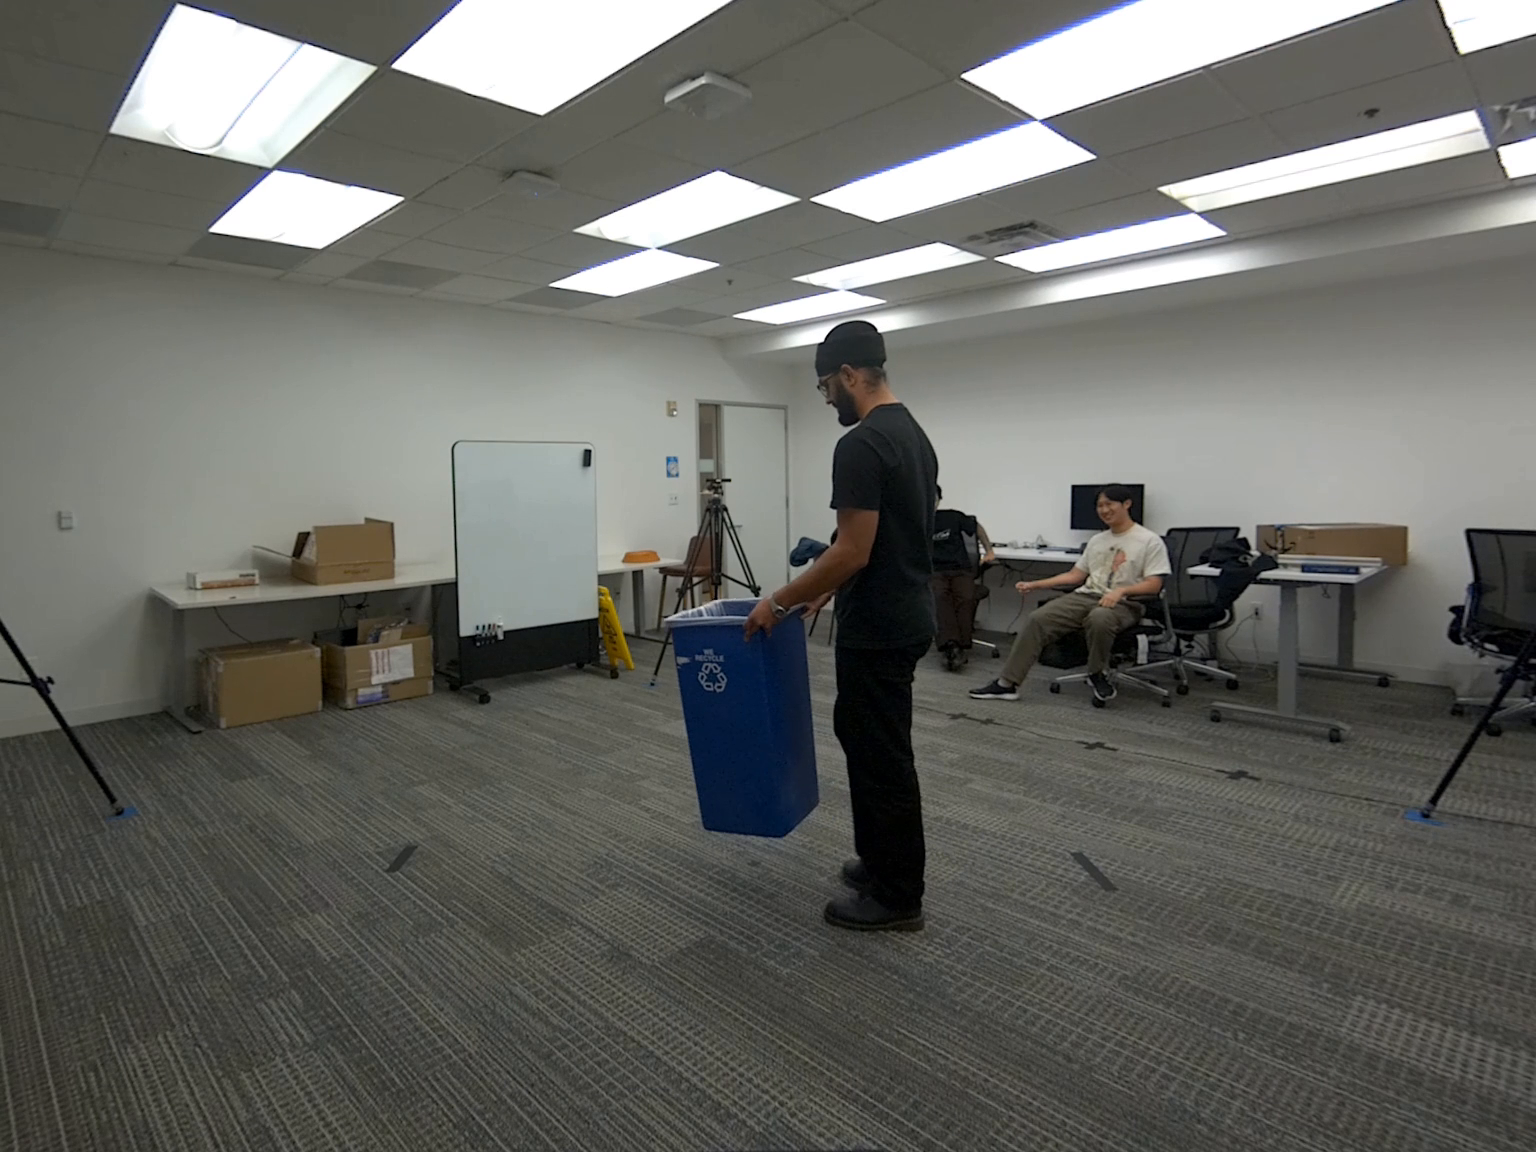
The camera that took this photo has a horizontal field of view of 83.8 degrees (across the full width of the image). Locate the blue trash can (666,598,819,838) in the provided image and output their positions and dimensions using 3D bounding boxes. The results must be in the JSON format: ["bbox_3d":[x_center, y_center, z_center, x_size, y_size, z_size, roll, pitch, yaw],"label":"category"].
[{"bbox_3d":[-0.055,0.458,2.859,0.383,0.711,0.371,-5,4,30],"label":"blue trash can"}]
